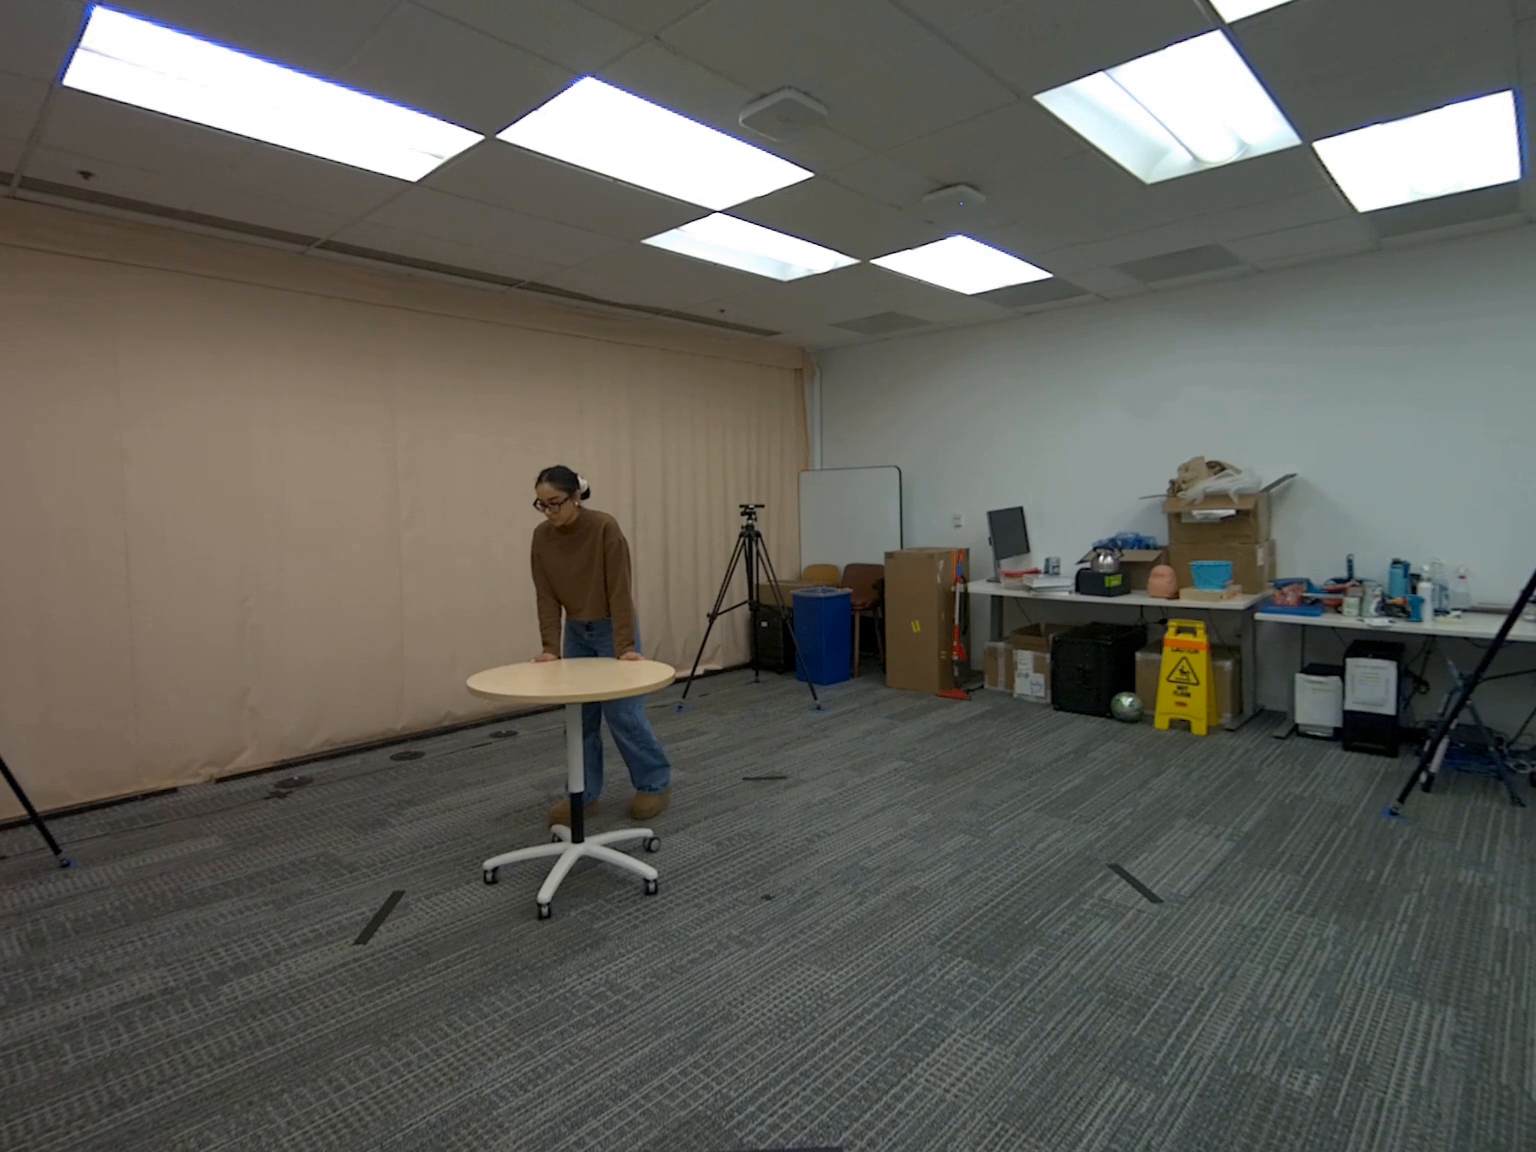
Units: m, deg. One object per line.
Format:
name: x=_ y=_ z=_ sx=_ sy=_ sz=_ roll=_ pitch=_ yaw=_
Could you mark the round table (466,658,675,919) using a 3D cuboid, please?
round table: x=-0.718 y=0.755 z=3.168 sx=0.763 sy=0.792 sz=0.766 roll=-1 pitch=3 yaw=-2
